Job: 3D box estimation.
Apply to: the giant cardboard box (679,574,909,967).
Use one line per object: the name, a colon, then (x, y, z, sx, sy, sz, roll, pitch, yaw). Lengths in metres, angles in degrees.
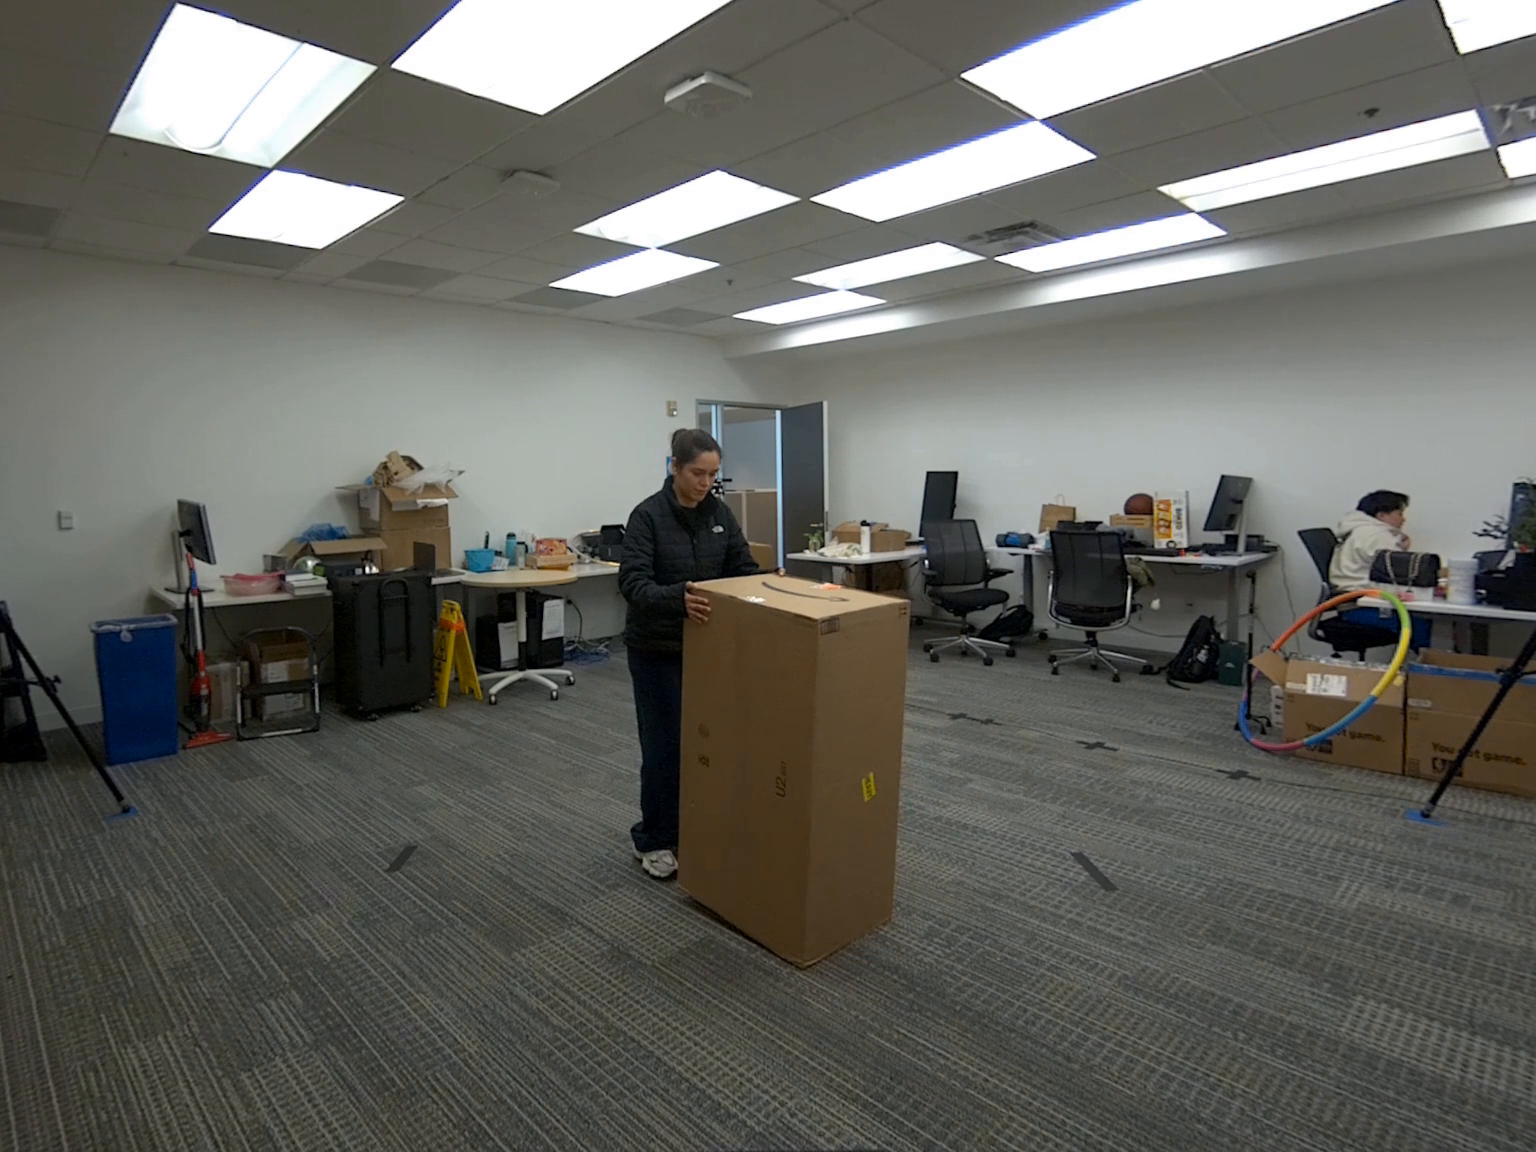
giant cardboard box: (0.071, 0.561, 2.720, 0.415, 1.019, 0.597, -5, 11, -43)
